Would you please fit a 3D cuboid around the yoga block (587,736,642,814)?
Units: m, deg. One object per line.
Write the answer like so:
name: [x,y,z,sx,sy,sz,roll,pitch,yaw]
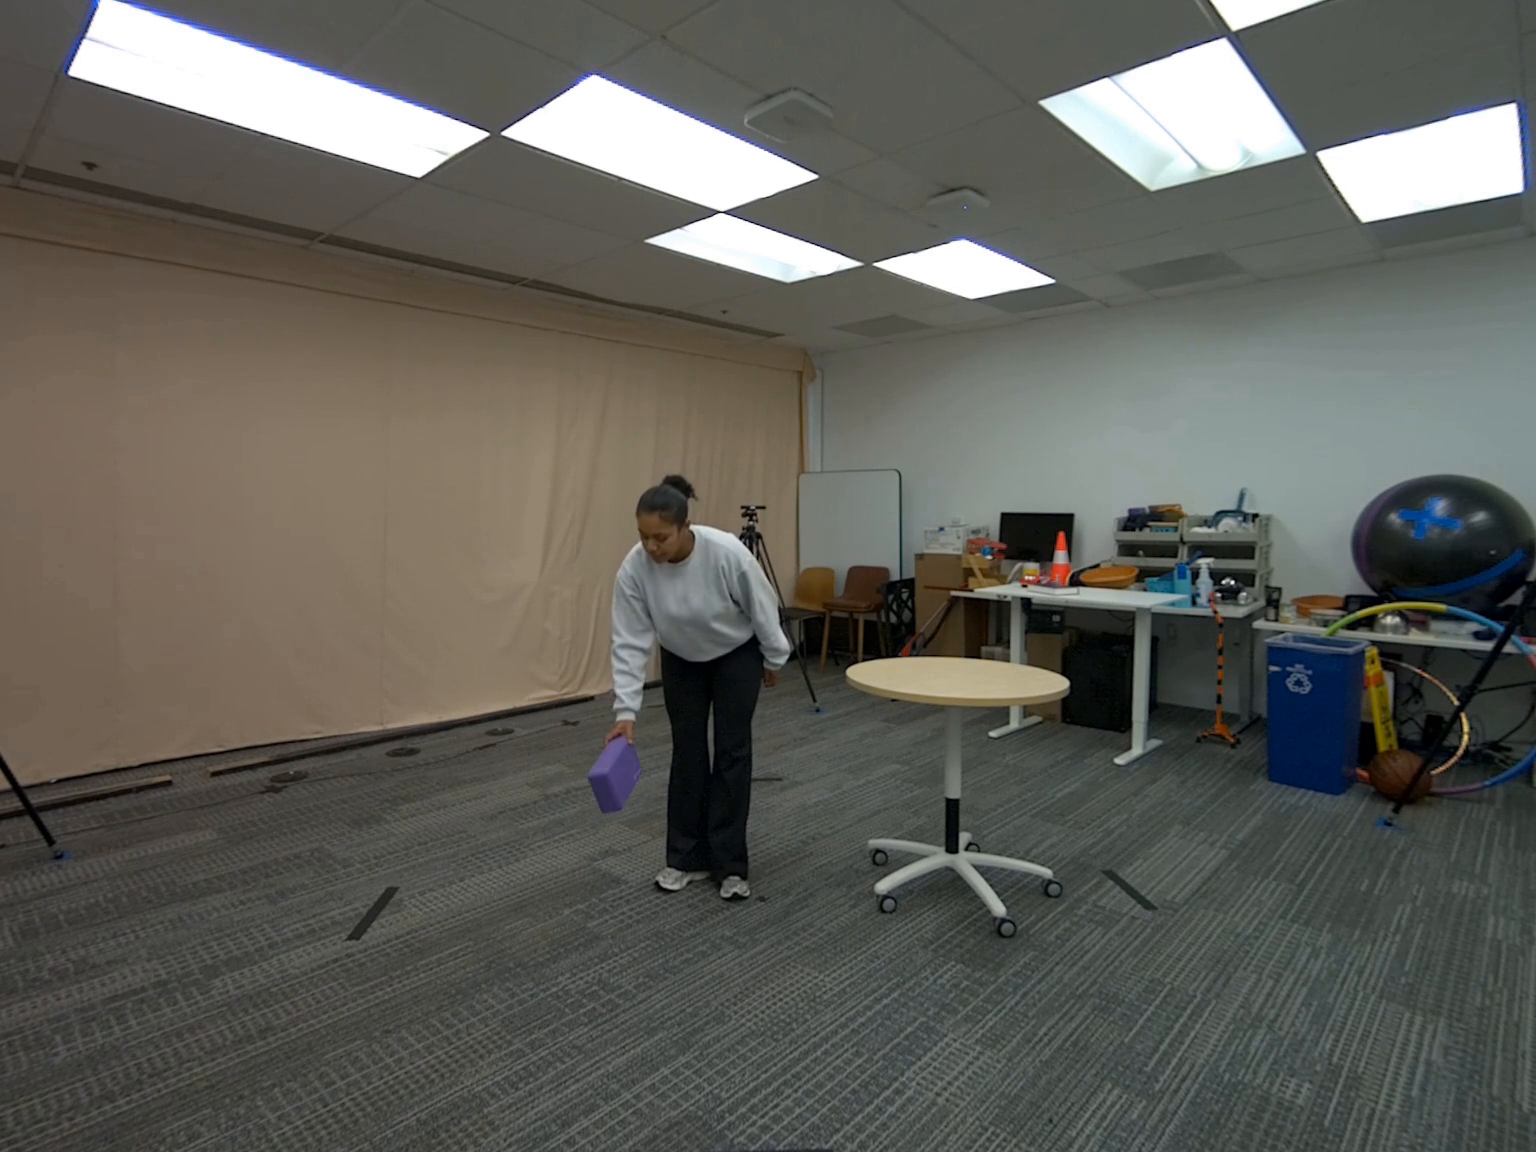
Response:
yoga block: [-0.494,0.659,2.789,0.077,0.147,0.229,-12,17,15]
